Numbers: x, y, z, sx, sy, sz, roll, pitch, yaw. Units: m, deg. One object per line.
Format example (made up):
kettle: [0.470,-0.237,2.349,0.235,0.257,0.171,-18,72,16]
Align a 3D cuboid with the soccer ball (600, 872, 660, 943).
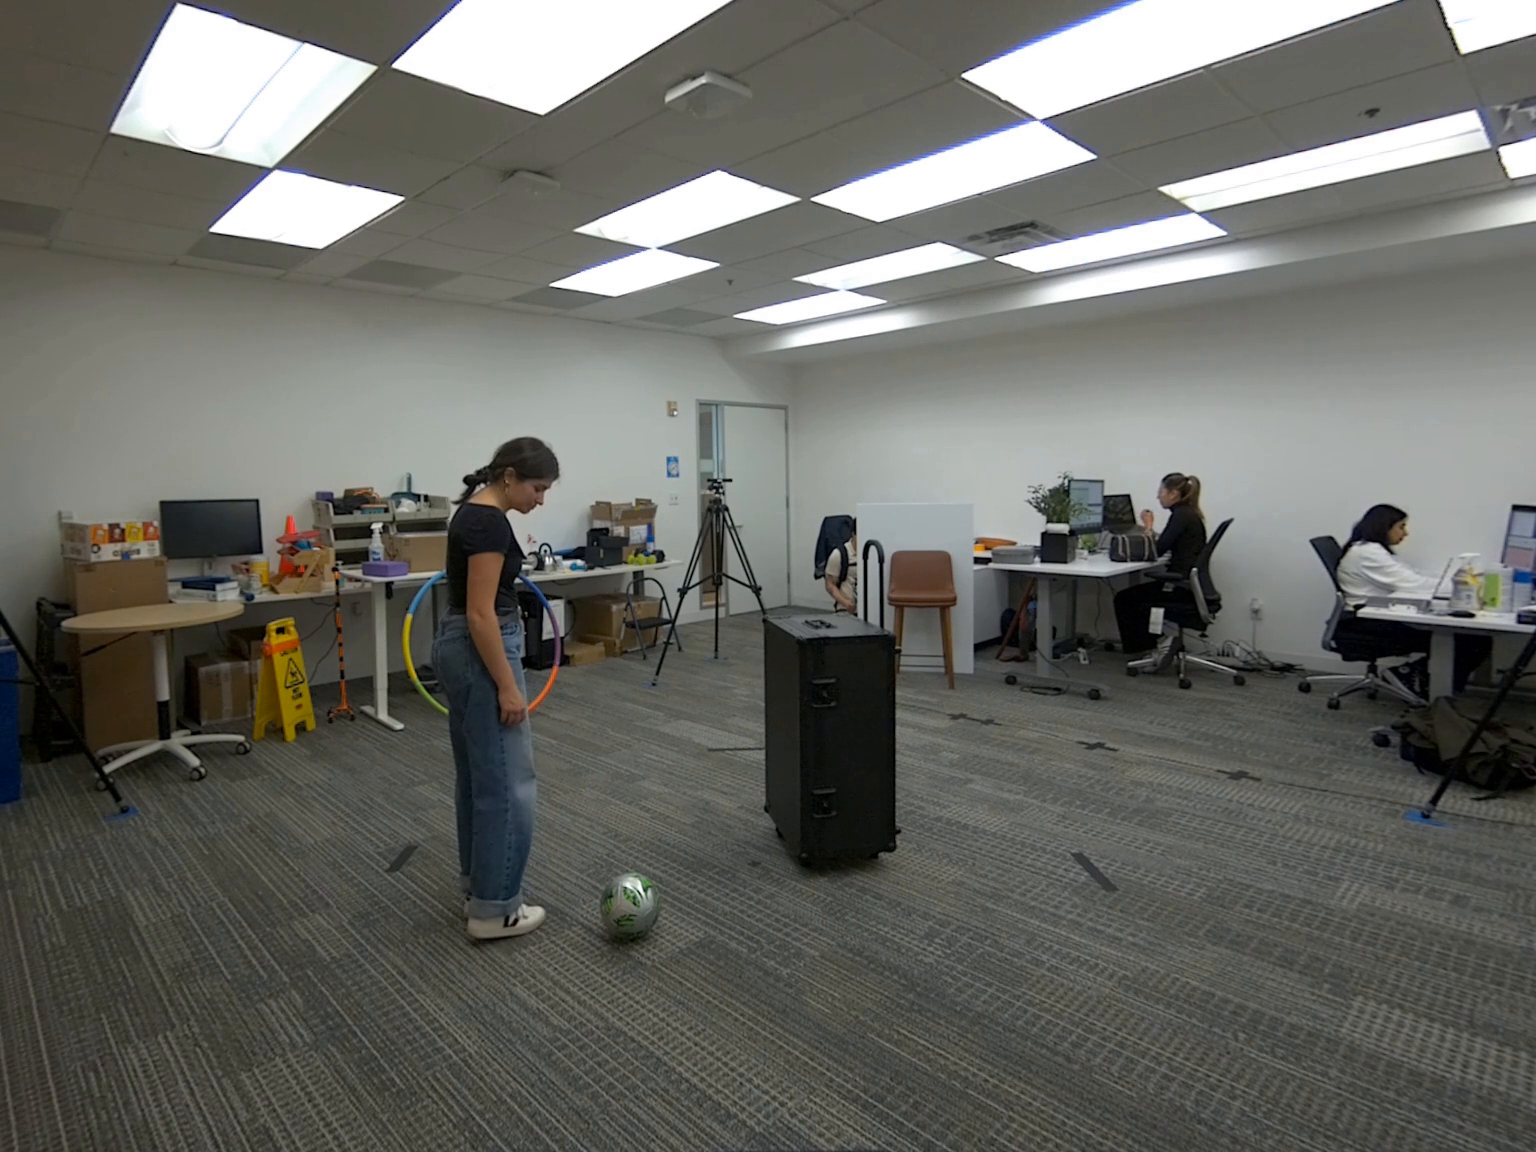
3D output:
soccer ball: [-0.419,1.012,2.627,0.187,0.187,0.188,-1,5,-2]
